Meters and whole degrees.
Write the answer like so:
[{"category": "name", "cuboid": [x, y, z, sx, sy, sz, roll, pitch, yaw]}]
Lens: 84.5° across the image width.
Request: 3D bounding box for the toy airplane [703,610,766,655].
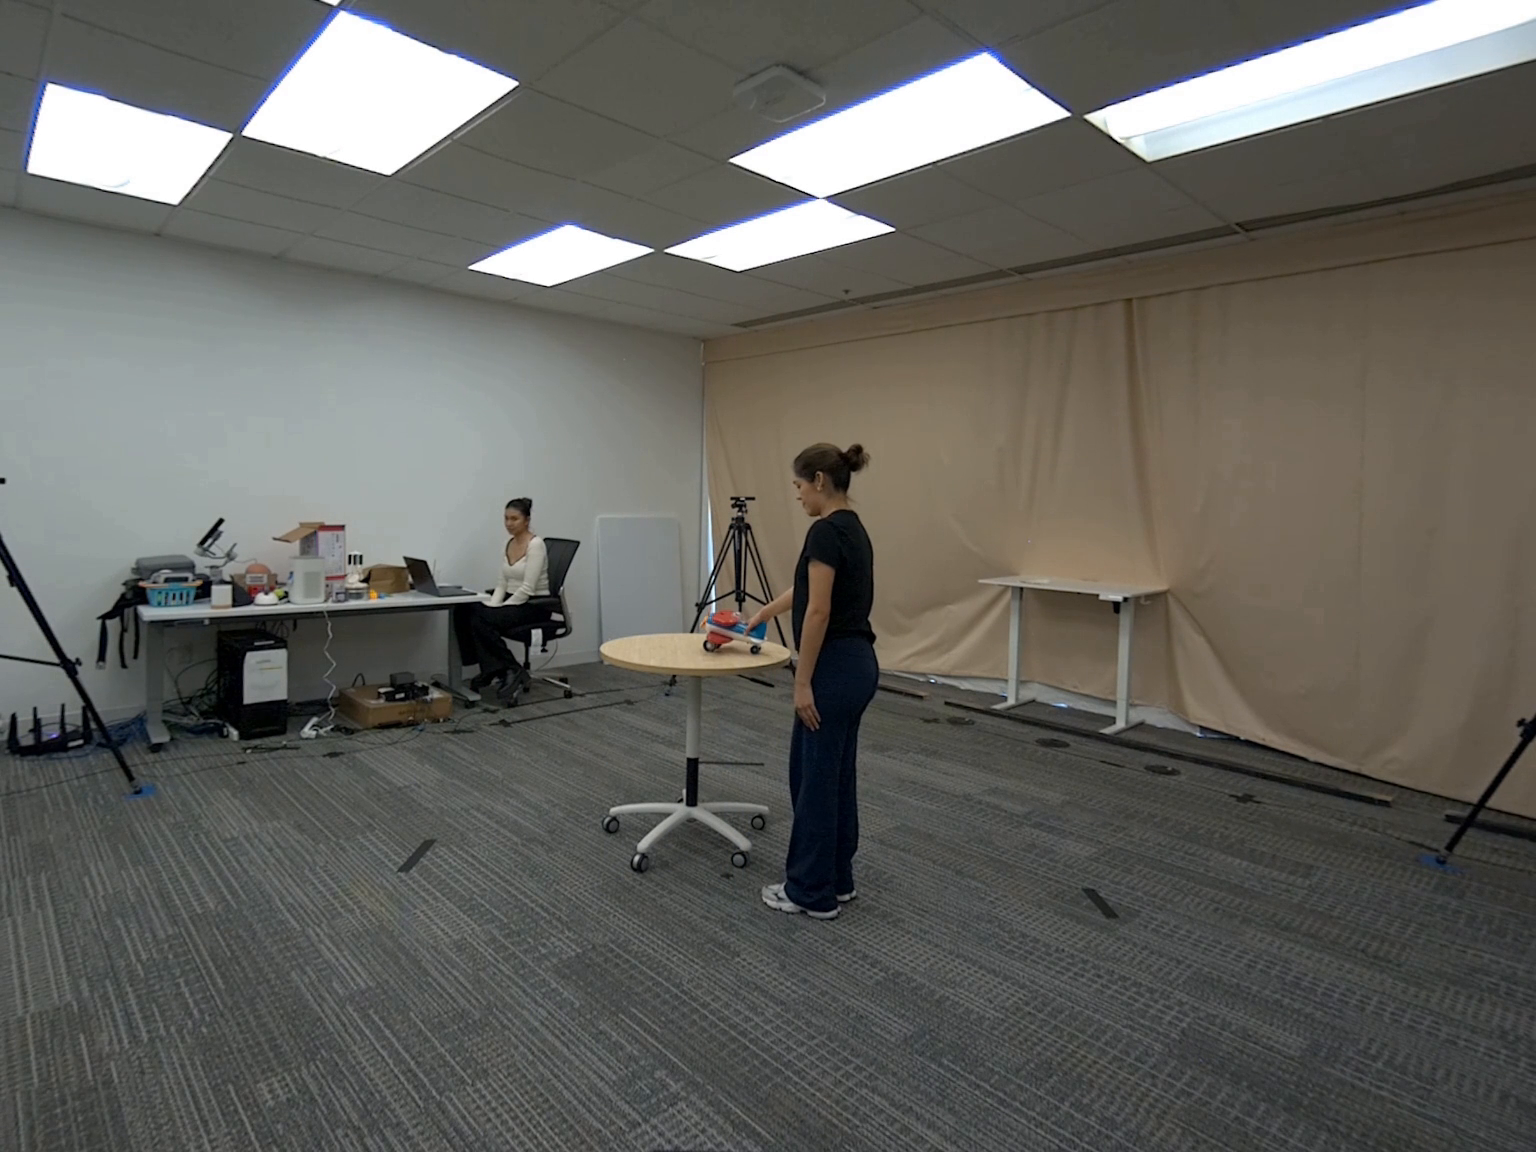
[{"category": "toy airplane", "cuboid": [-0.141, 0.222, 3.380, 0.255, 0.156, 0.256, -1, 7, -22]}]
